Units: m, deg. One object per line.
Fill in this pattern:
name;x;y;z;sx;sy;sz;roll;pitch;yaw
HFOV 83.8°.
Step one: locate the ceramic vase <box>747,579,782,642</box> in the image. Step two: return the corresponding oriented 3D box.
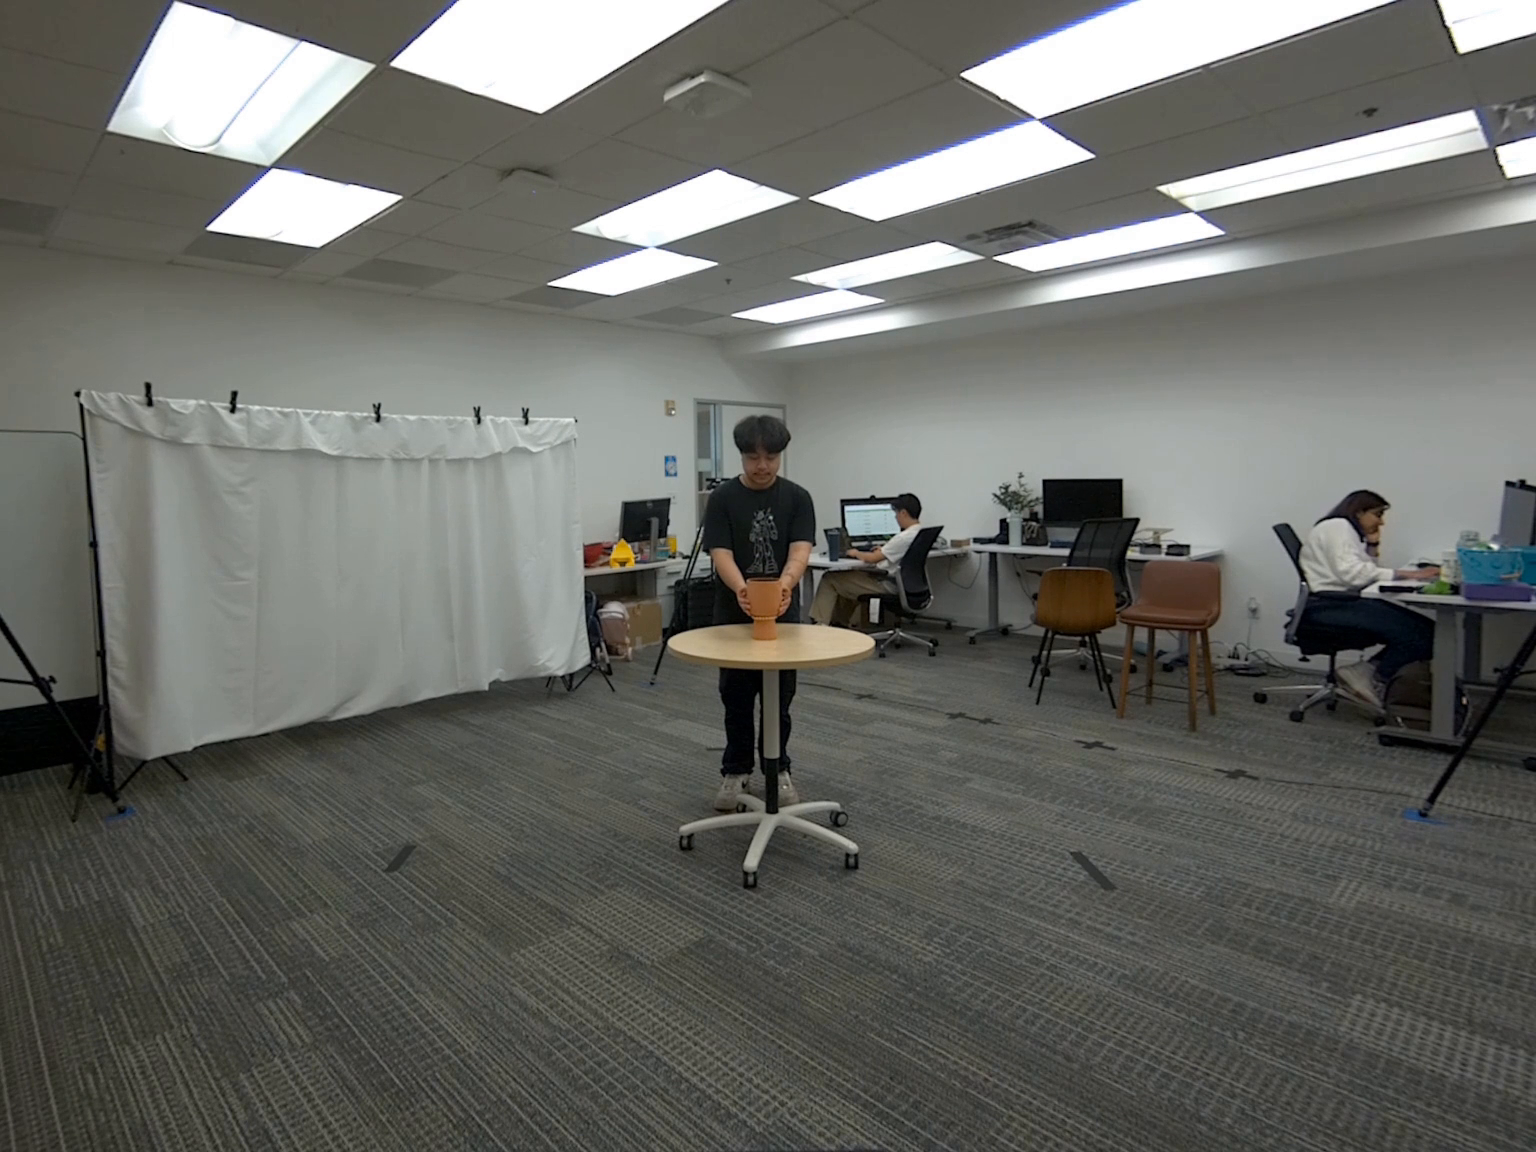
ceramic vase;-0.014;0.128;3.225;0.164;0.219;0.131;4;5;42
